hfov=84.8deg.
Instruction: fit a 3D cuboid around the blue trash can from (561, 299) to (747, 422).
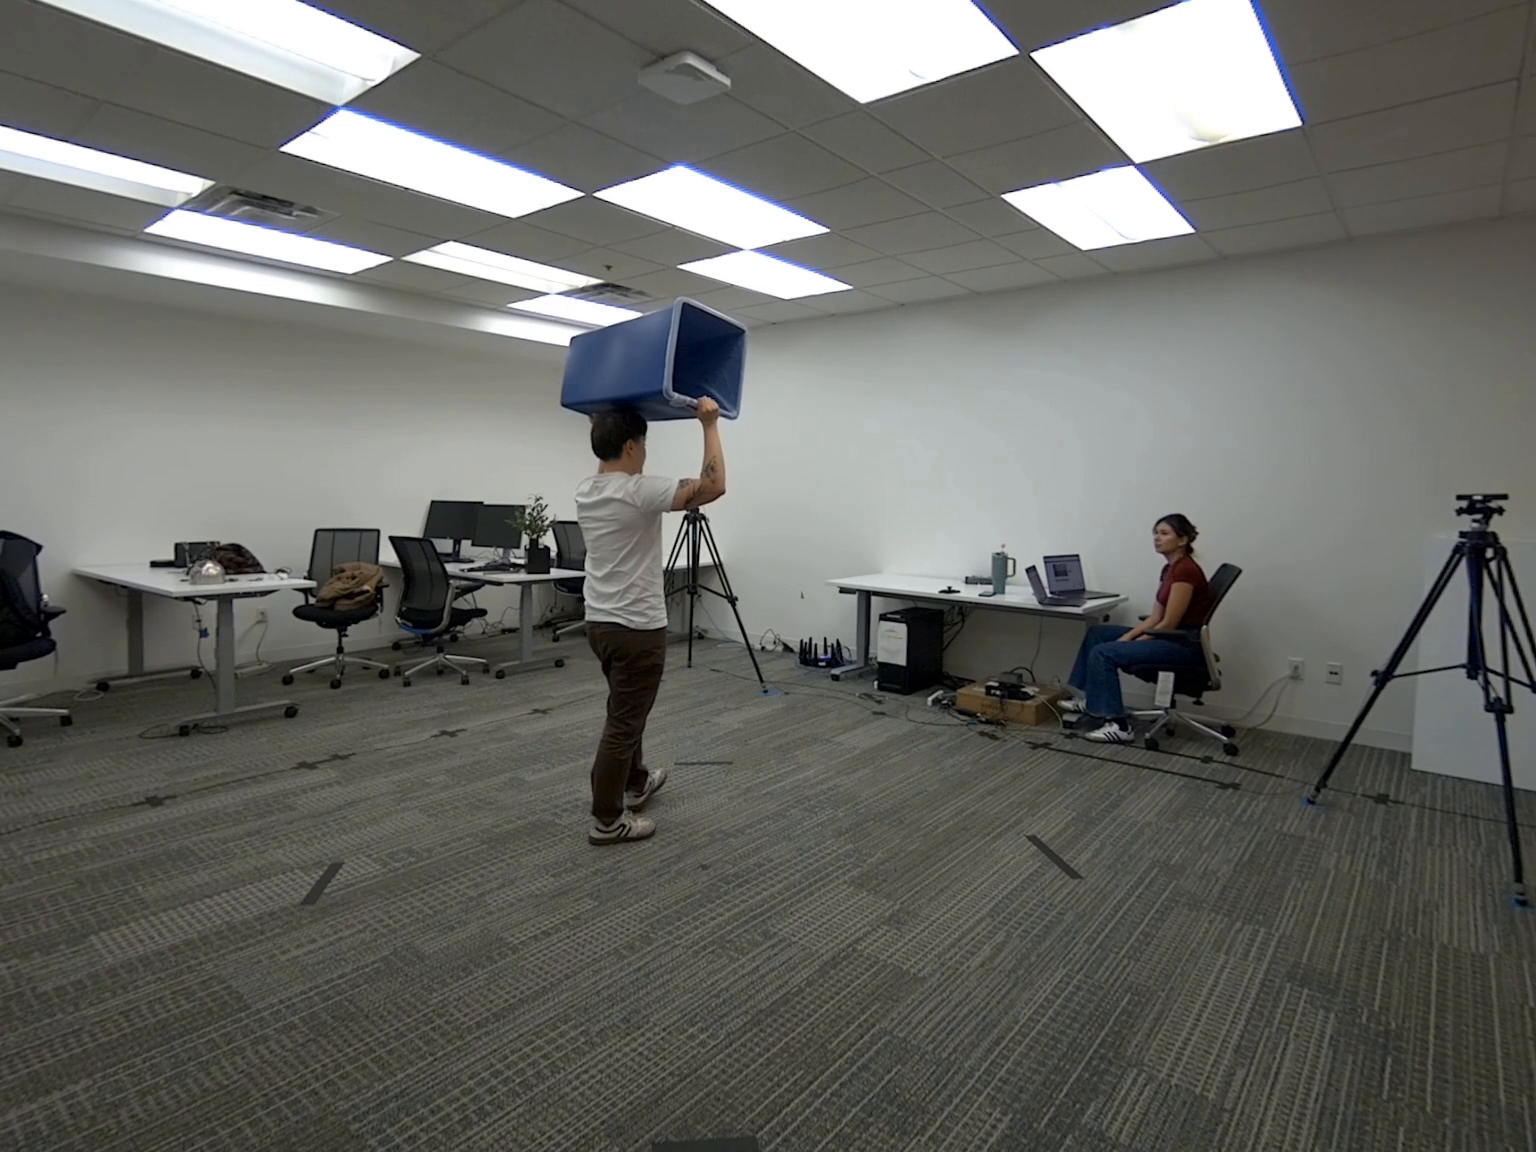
[{"bbox_3d":[-0.480,-0.812,3.350,0.738,0.379,0.360,5,-5,44],"label":"blue trash can"}]
